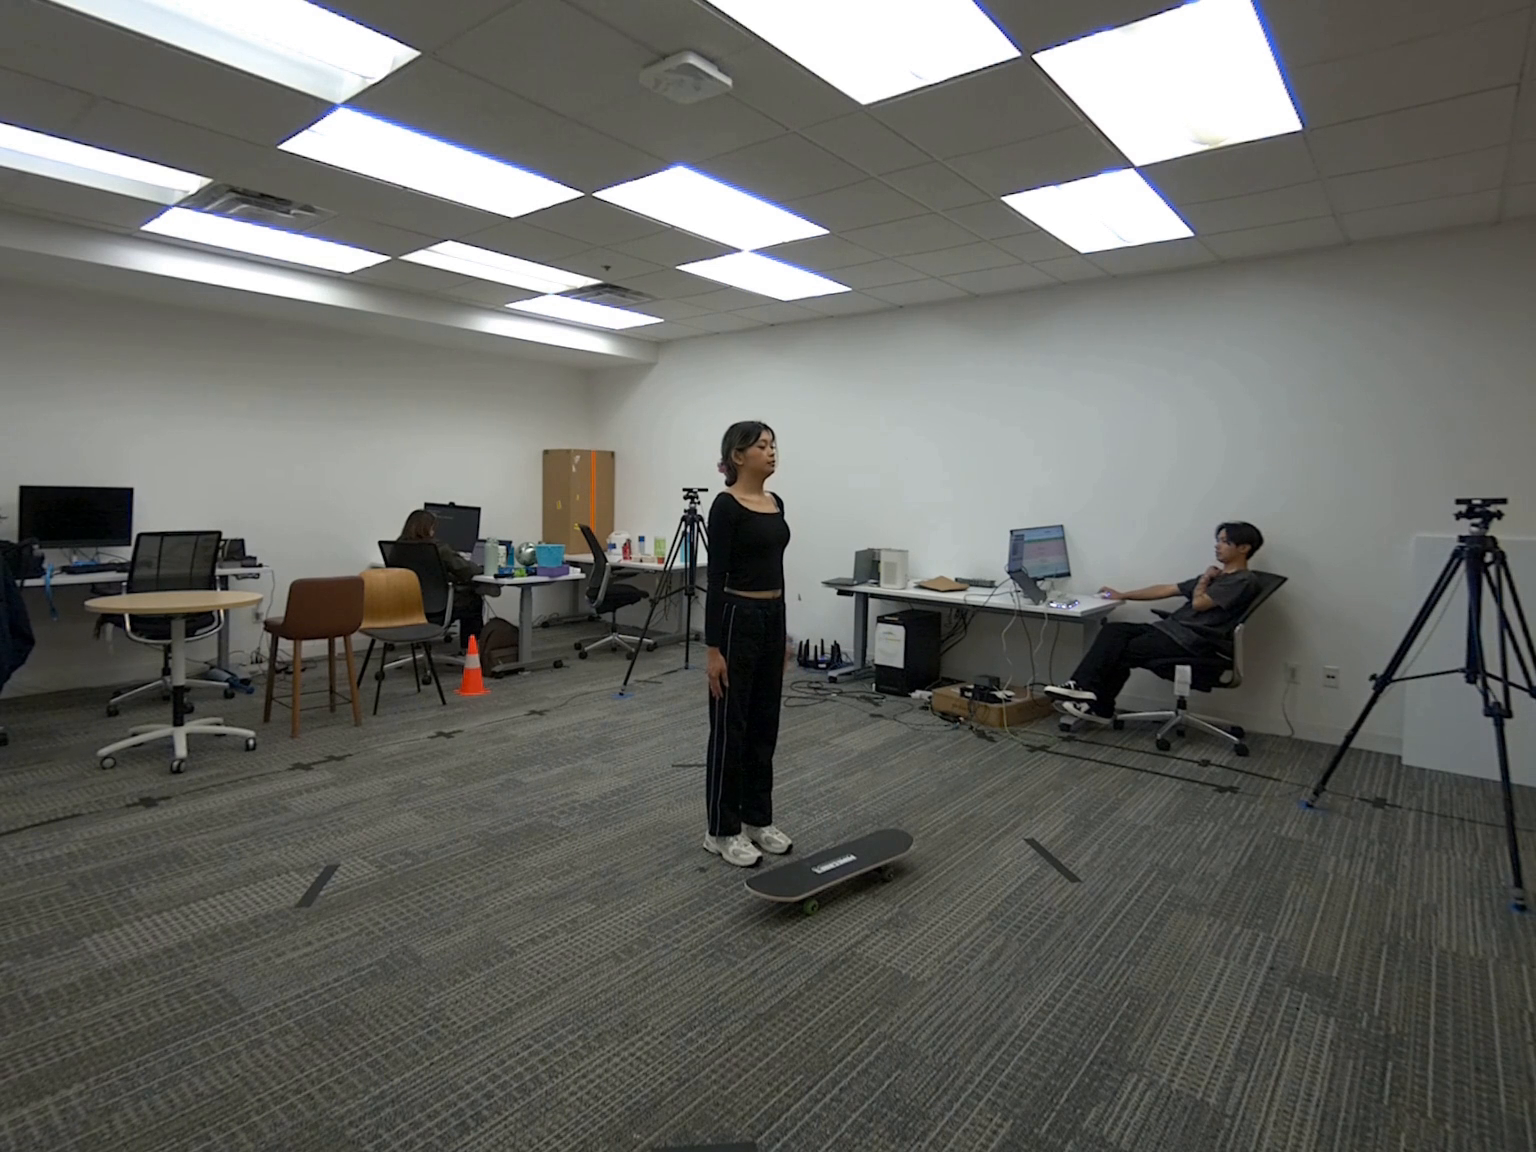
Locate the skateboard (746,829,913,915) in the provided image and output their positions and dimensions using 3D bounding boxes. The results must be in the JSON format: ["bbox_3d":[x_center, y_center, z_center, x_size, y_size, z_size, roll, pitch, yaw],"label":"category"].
[{"bbox_3d":[0.234,1.037,2.980,0.762,0.110,0.200,-4,8,-41],"label":"skateboard"}]
